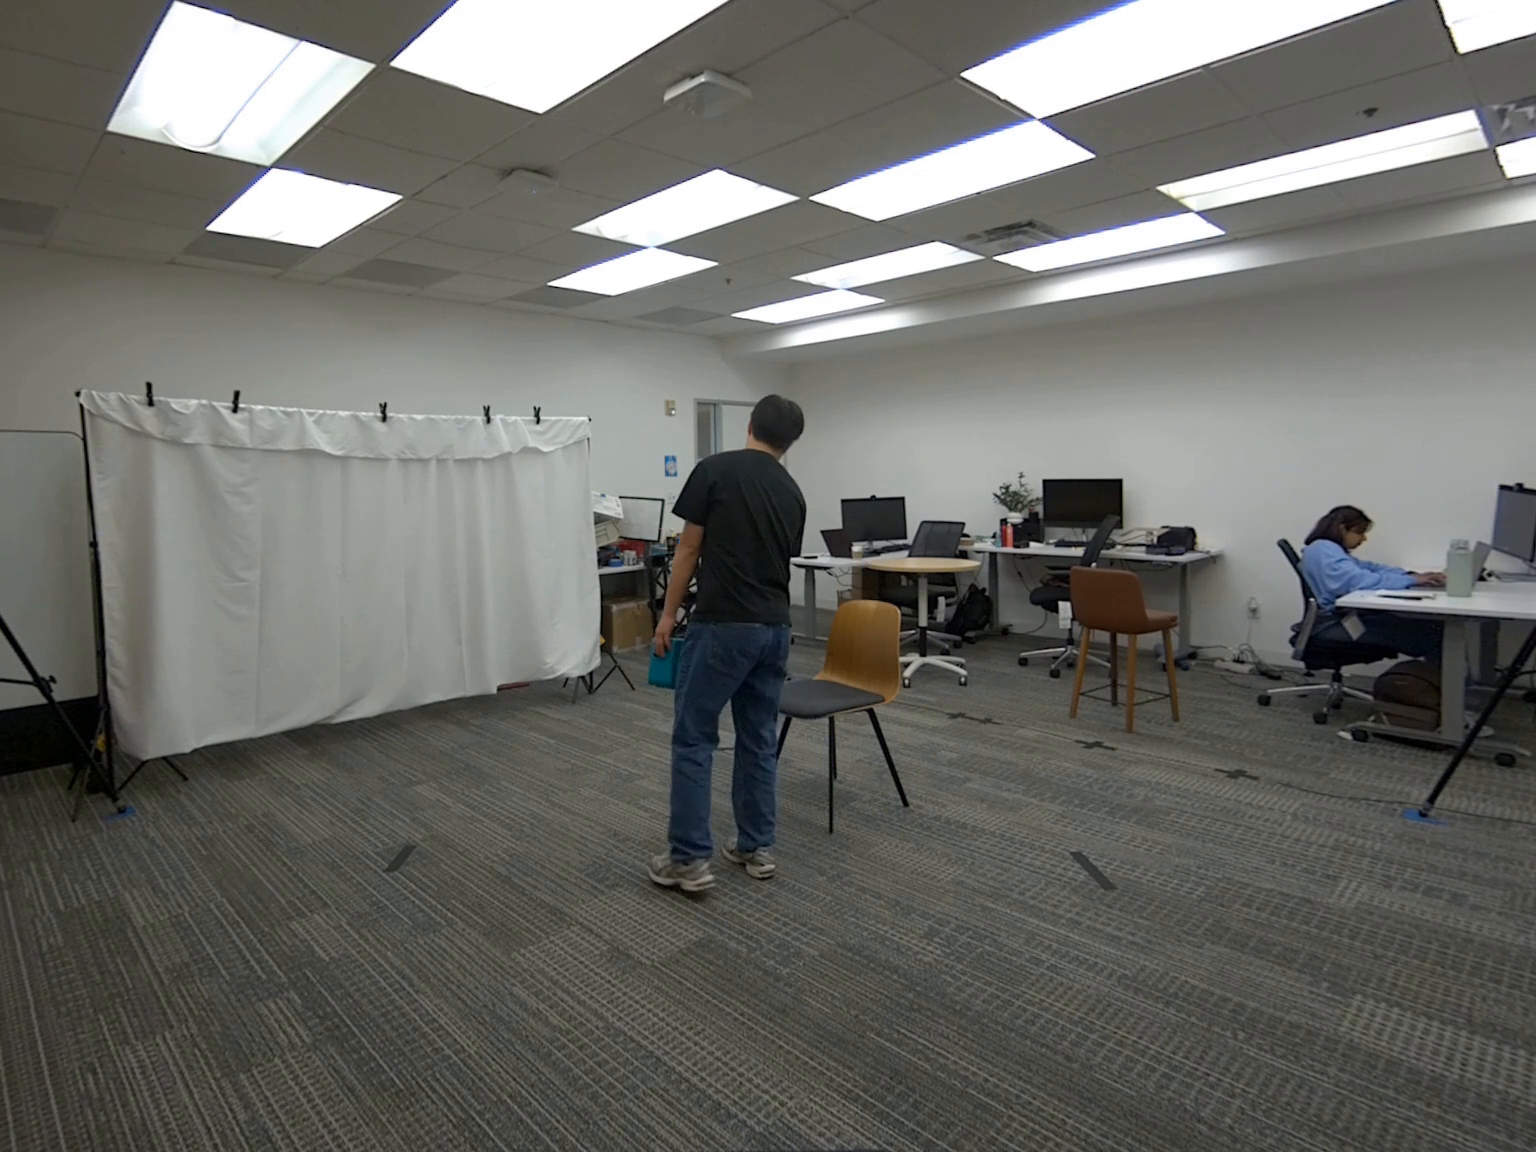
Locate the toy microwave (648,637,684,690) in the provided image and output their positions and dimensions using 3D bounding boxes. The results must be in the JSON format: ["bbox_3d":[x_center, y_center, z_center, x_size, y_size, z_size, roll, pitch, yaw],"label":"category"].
[{"bbox_3d":[-0.295,0.332,3.215,0.156,0.185,0.276,-2,-9,42],"label":"toy microwave"}]
